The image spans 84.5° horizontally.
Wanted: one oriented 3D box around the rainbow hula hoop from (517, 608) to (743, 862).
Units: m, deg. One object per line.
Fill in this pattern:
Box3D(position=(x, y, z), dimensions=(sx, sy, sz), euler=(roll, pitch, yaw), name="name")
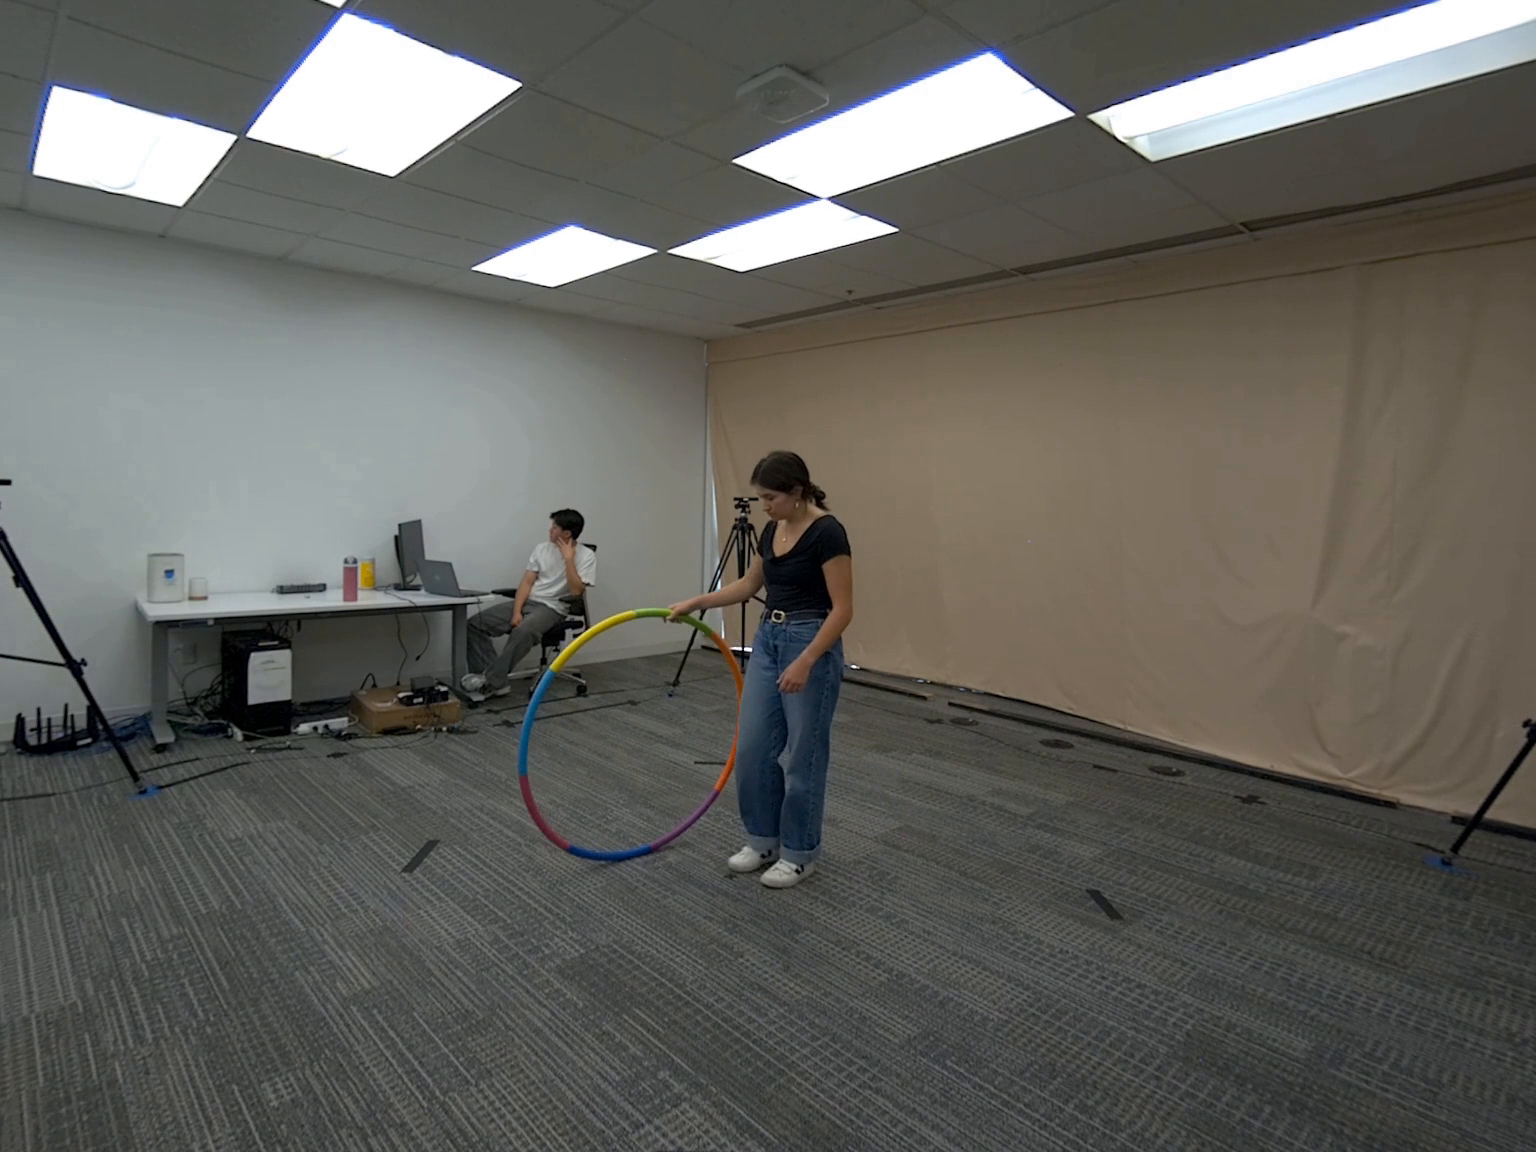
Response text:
Box3D(position=(-0.486, 0.609, 3.201), dimensions=(0.957, 0.974, 0.036), euler=(-2, 9, -38), name="rainbow hula hoop")
